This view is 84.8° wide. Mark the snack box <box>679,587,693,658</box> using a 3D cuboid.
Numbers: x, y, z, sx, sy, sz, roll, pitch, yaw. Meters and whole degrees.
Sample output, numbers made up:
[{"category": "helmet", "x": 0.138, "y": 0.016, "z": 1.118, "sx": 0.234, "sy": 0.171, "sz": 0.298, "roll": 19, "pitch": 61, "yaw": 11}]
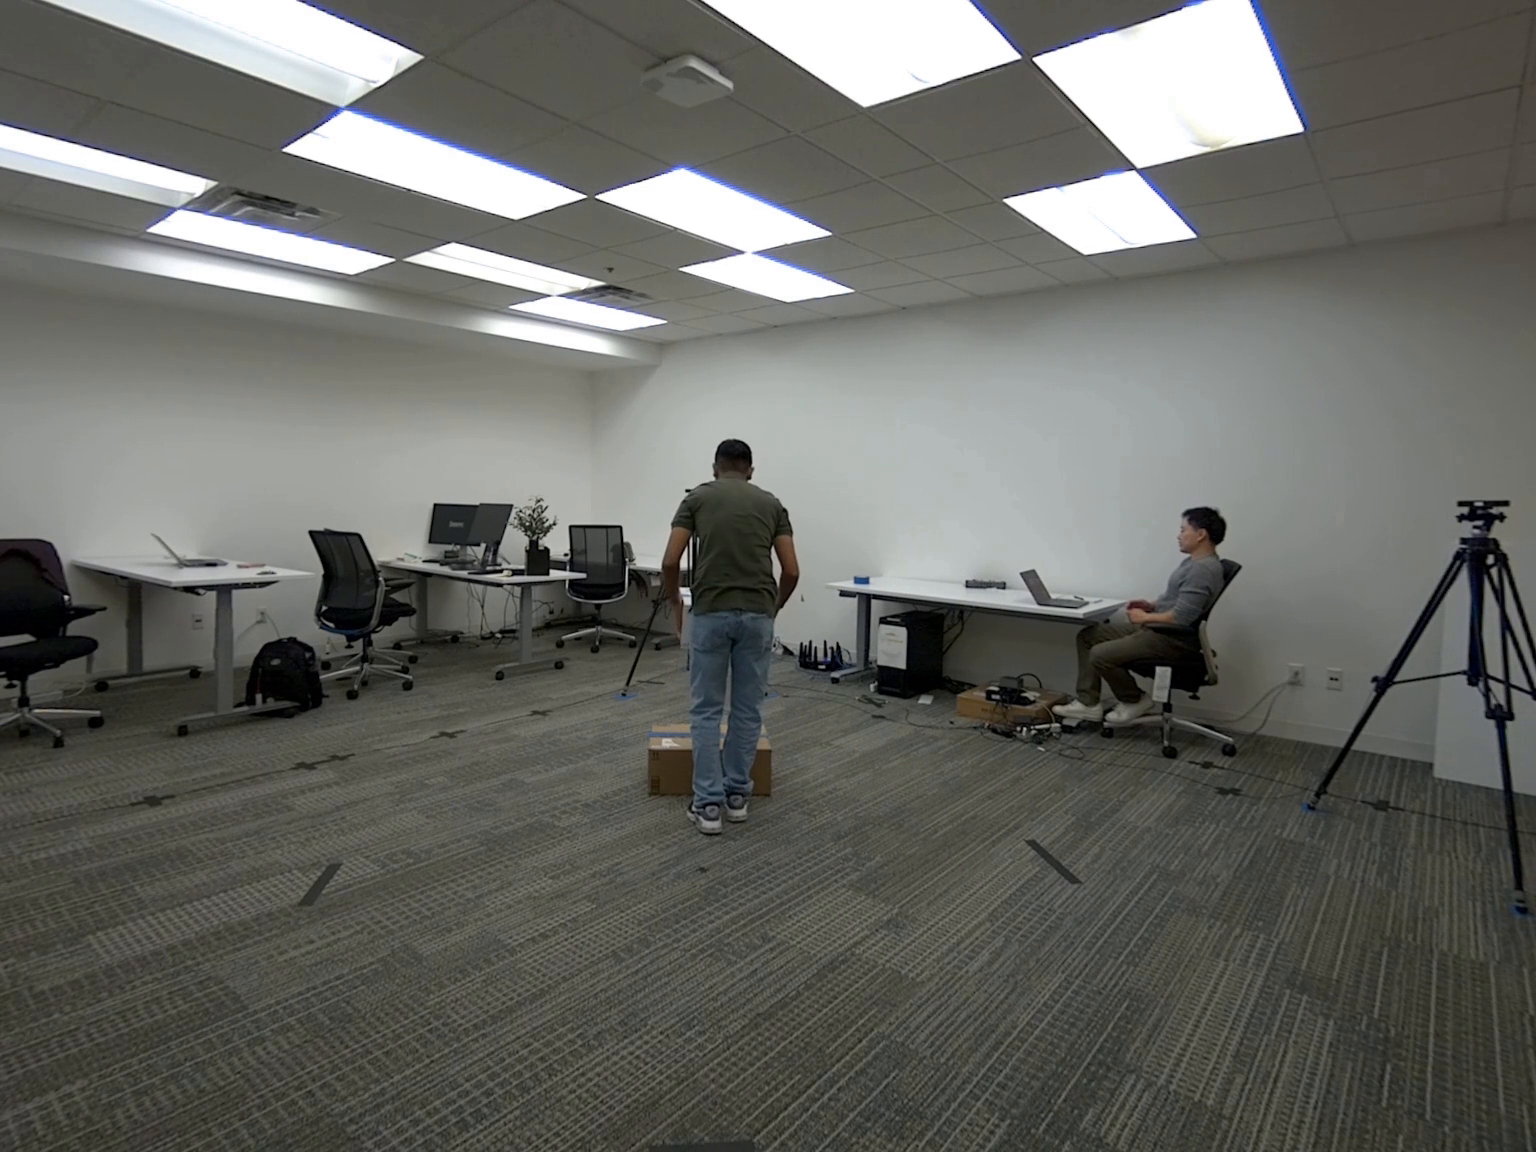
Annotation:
[{"category": "snack box", "x": -0.210, "y": 0.187, "z": 3.905, "sx": 0.401, "sy": 0.204, "sz": 0.347, "roll": 1, "pitch": 11, "yaw": -9}]
